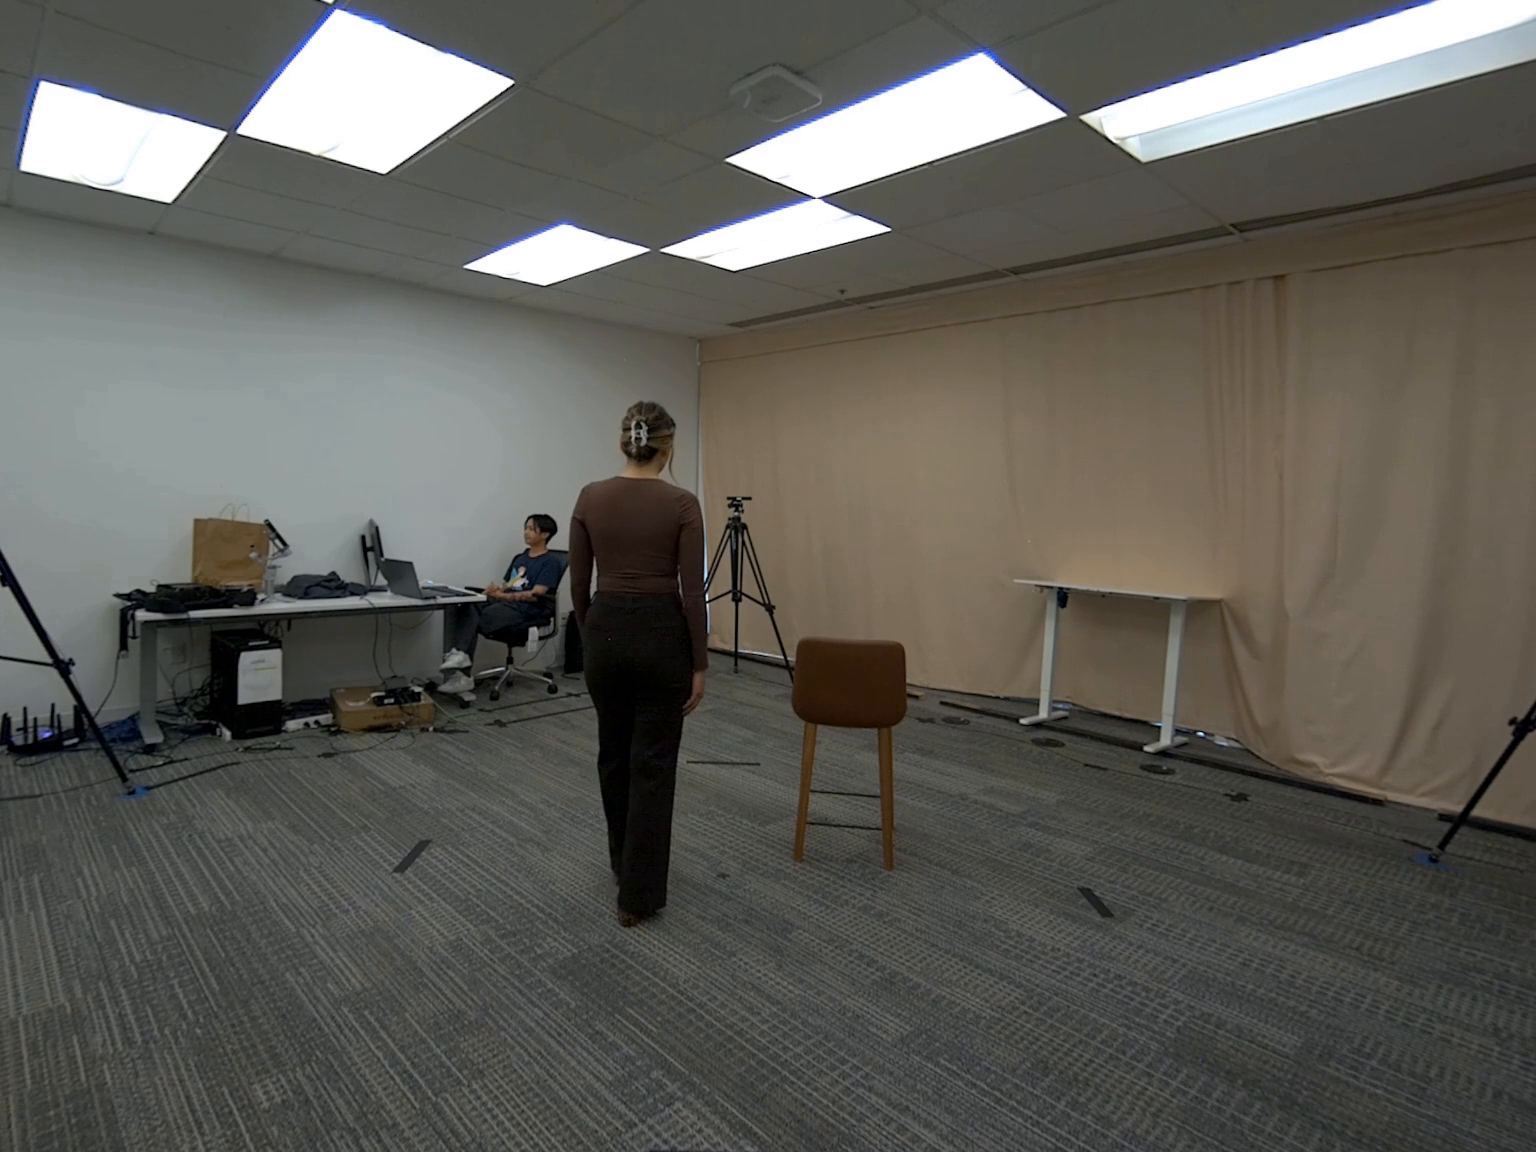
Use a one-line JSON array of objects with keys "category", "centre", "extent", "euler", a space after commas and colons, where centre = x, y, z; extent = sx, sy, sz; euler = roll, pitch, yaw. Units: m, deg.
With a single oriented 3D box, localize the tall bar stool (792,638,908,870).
[{"category": "tall bar stool", "centre": [0.317, 0.657, 3.407], "extent": [0.460, 0.887, 0.465], "euler": [2, 4, 8]}]
